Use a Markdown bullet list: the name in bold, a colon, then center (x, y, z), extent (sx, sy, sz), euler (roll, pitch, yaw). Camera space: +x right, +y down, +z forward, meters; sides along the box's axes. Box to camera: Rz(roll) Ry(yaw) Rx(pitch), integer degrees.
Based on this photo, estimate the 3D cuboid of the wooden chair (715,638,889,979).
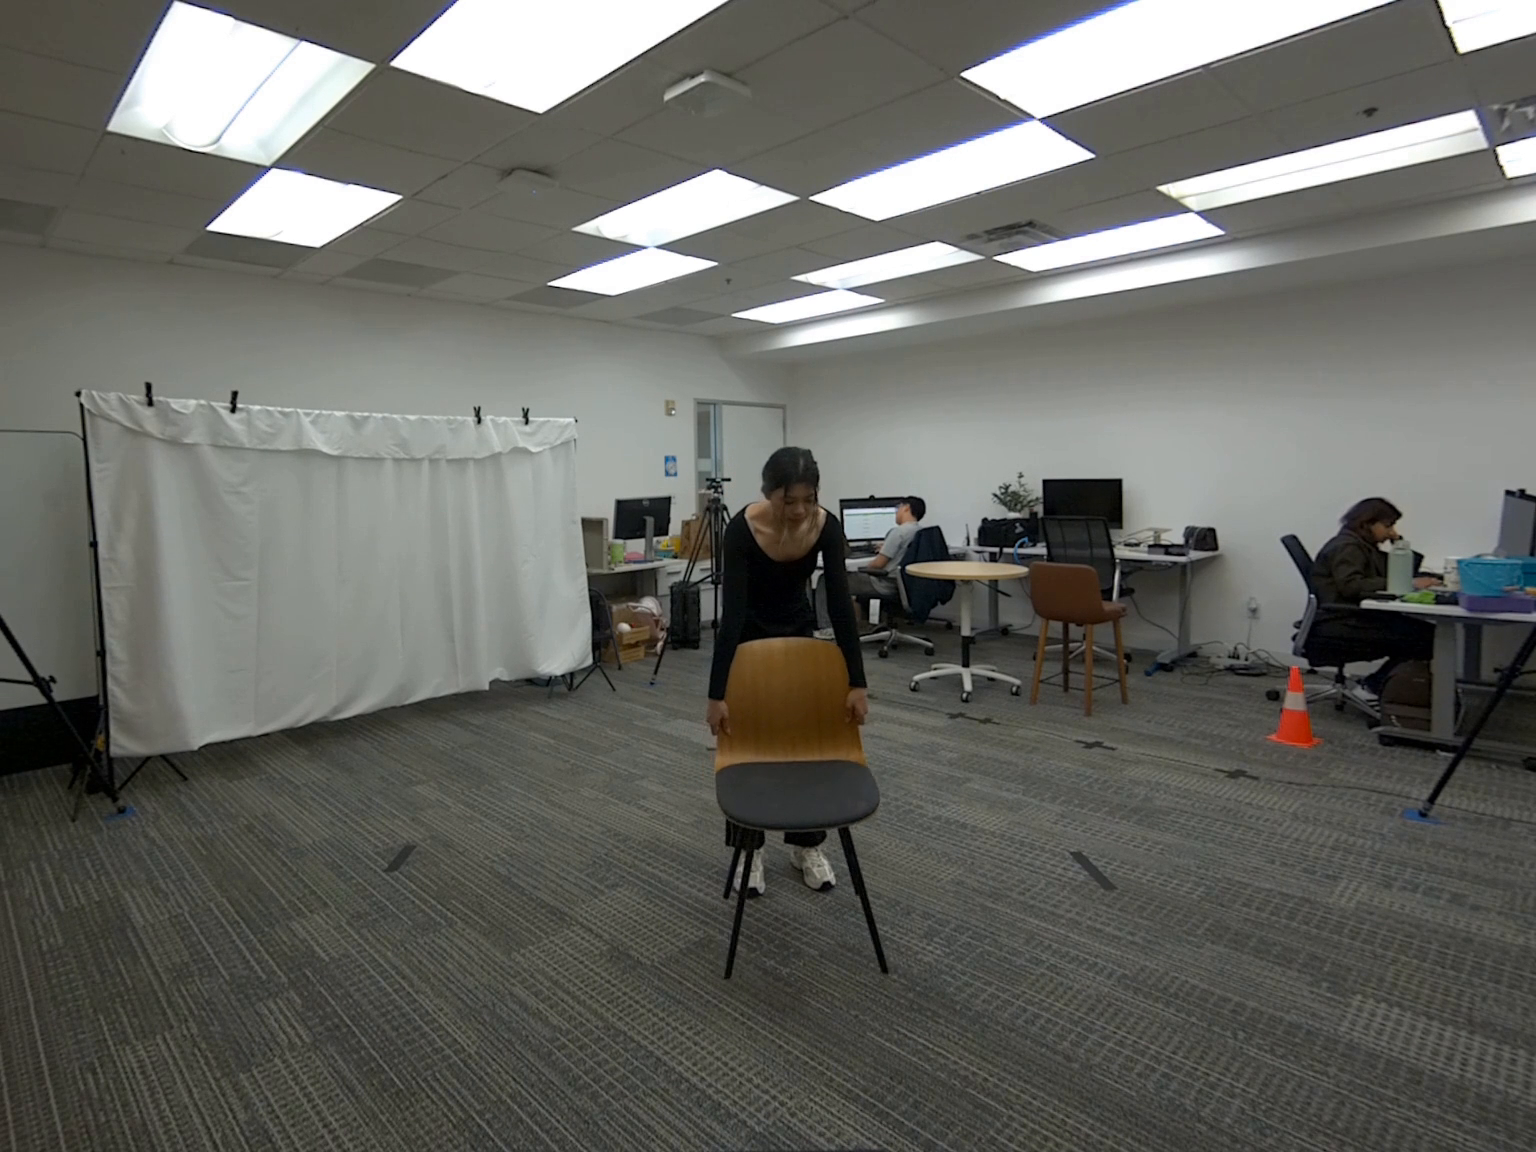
- **wooden chair**: center (0.088, 0.653, 2.524), extent (0.477, 0.877, 0.524), euler (-1, 1, -3)
